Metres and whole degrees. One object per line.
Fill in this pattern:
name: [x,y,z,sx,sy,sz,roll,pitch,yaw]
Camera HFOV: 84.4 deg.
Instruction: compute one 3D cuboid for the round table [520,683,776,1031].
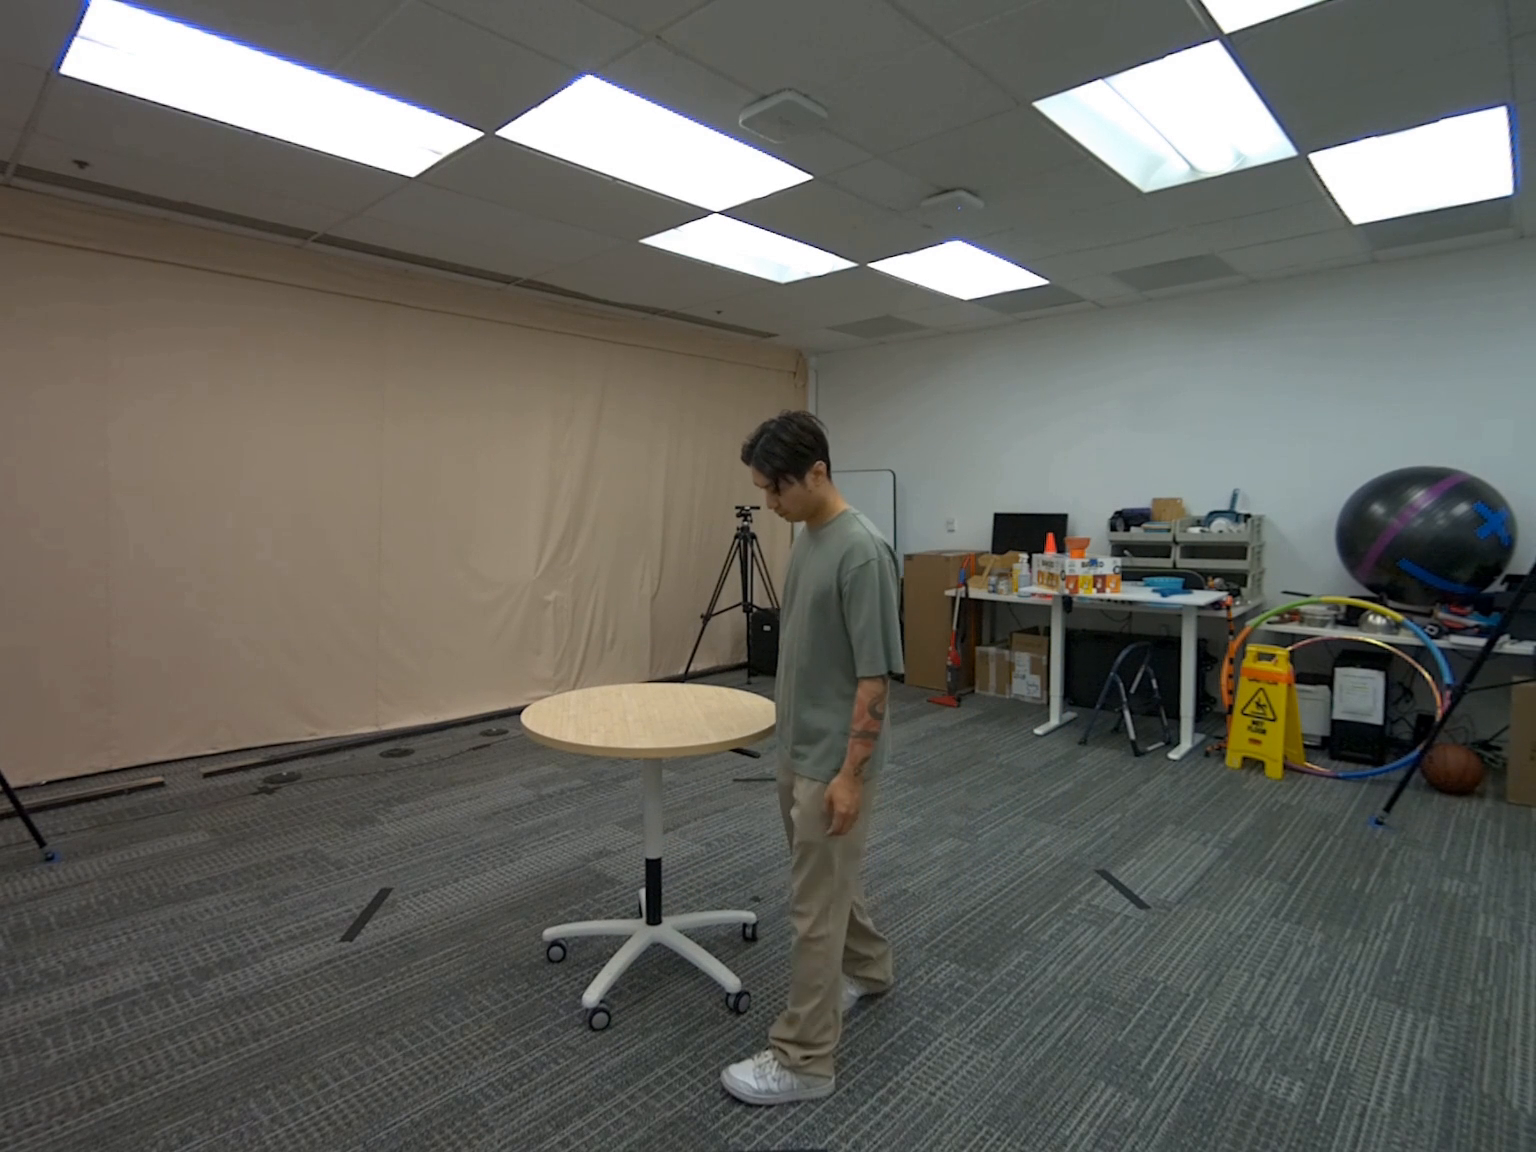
round table: [-0.325,0.788,2.531,0.784,0.785,0.788,0,4,-2]
